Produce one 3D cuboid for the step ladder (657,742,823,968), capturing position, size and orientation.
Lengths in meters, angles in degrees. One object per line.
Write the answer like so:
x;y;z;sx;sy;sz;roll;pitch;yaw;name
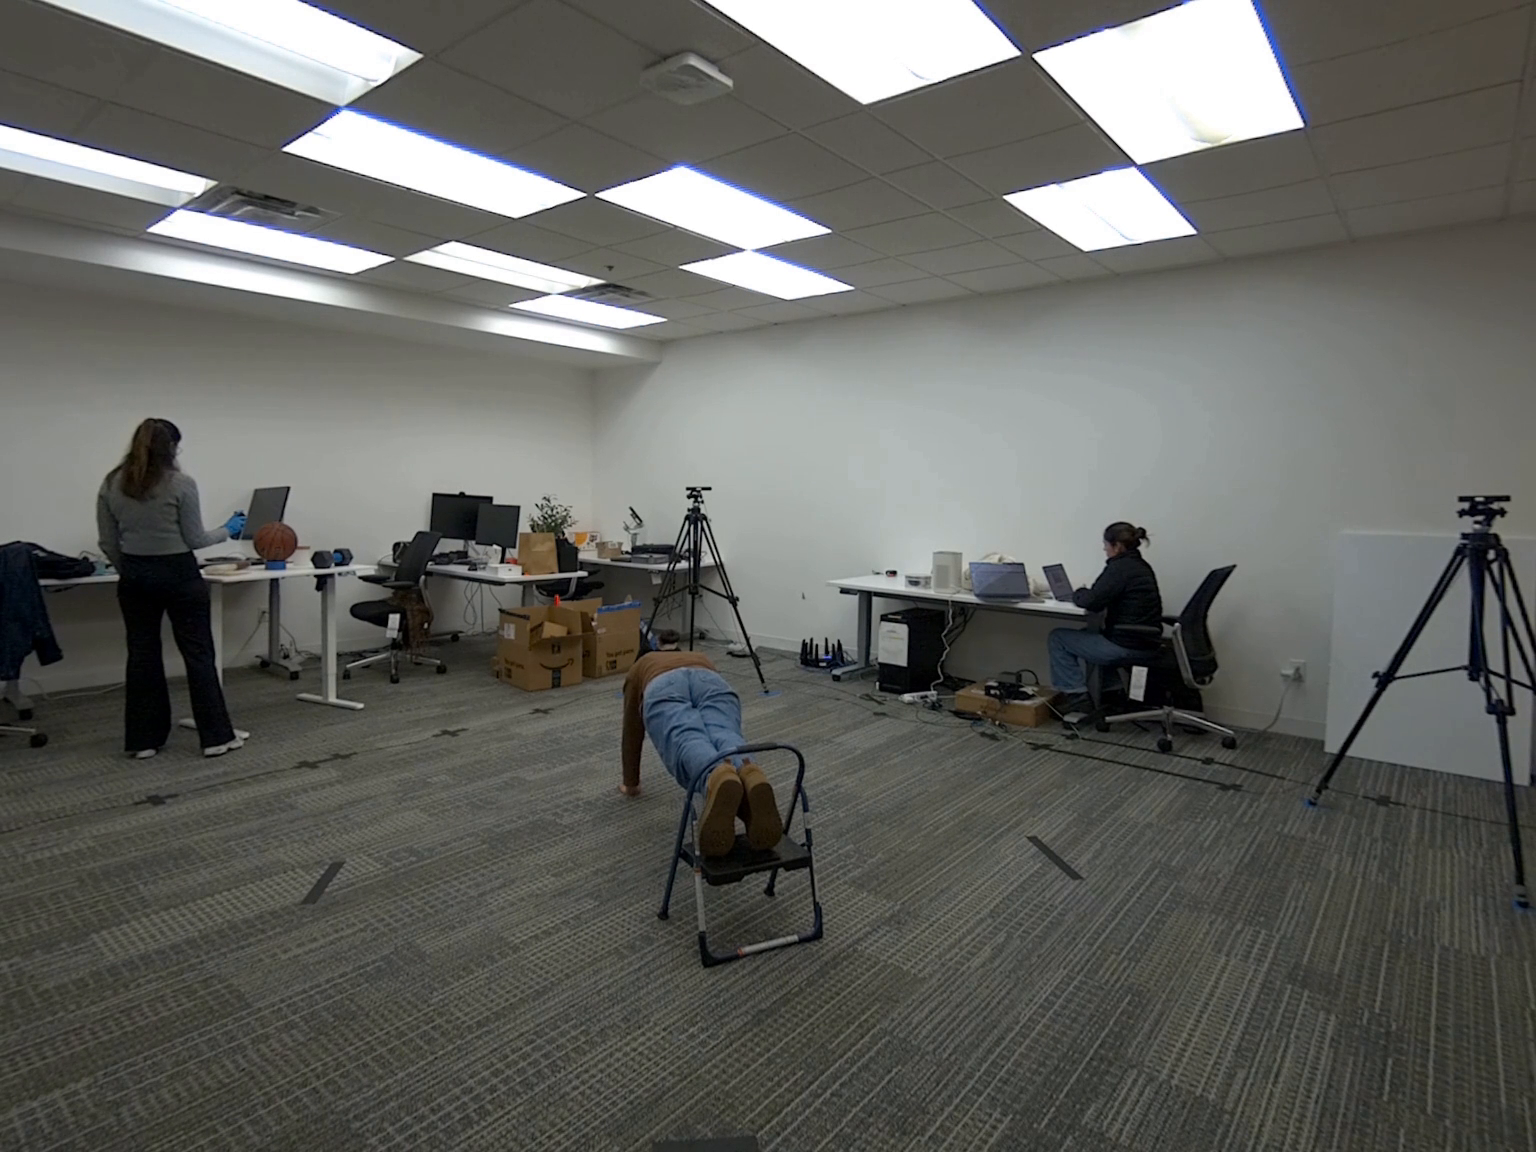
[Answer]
-0.091;0.809;2.684;0.419;0.604;0.360;-1;4;-29;step ladder
